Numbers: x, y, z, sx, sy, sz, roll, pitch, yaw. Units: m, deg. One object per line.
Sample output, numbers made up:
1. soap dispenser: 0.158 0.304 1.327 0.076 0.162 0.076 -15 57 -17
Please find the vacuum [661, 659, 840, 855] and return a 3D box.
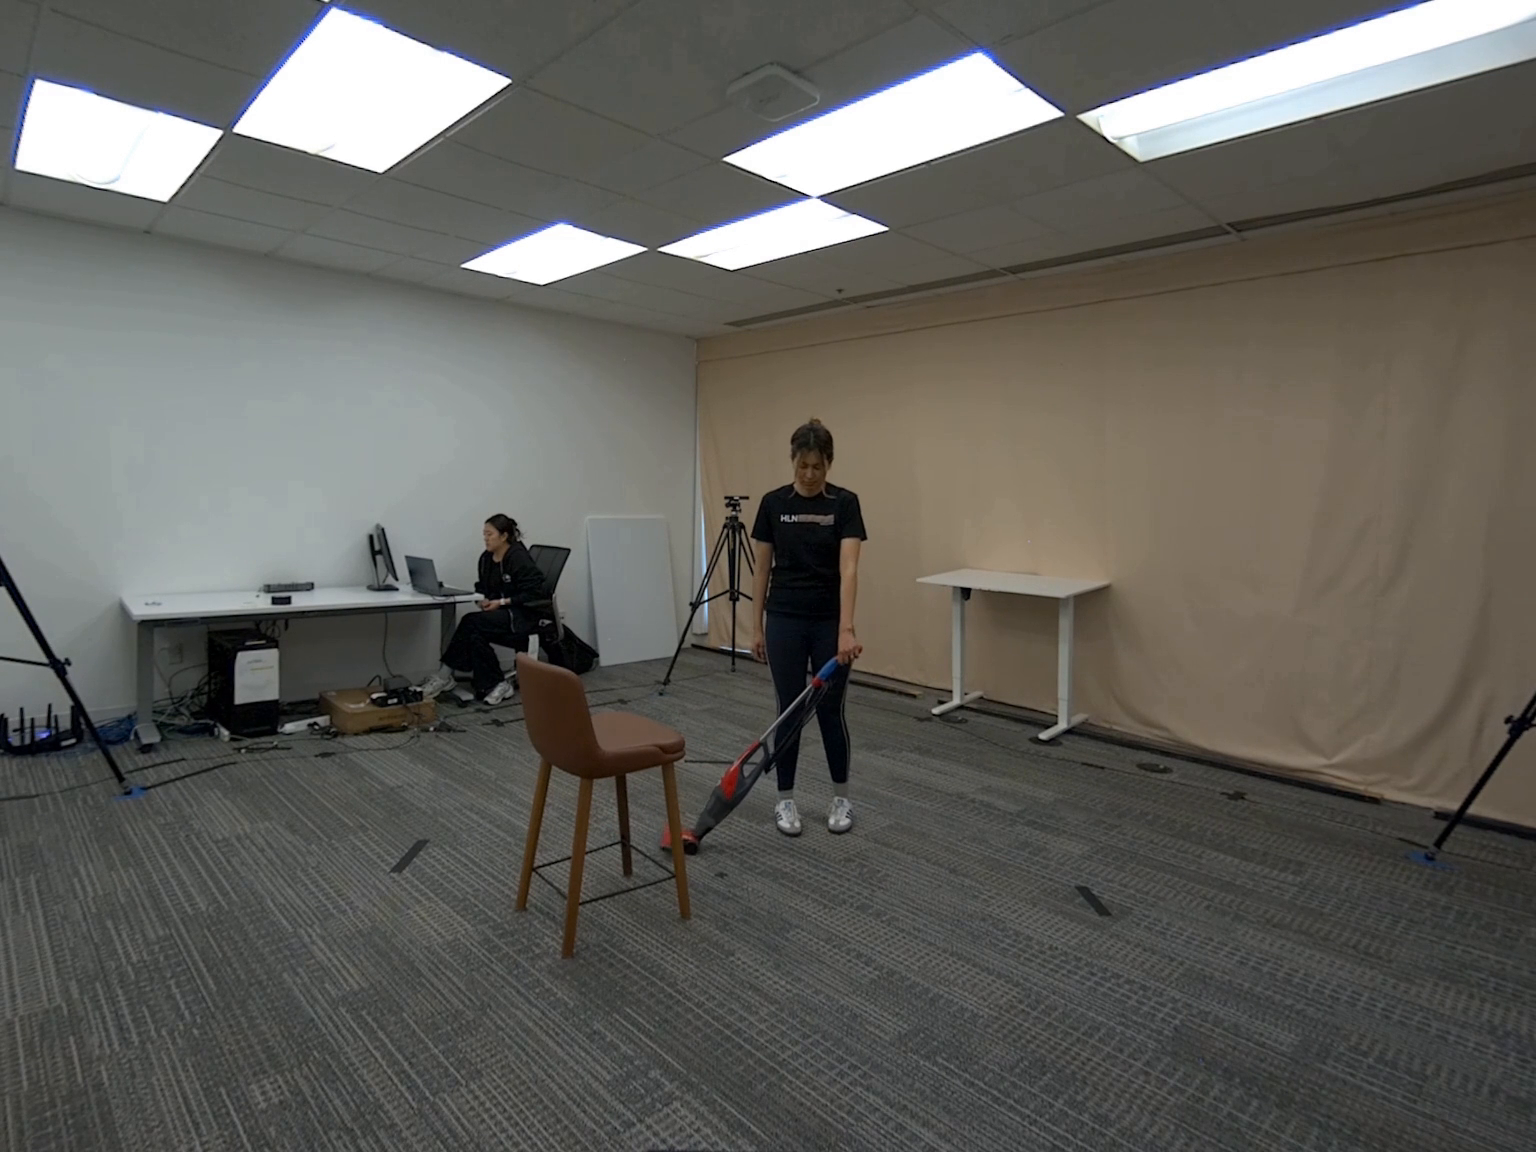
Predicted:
1. vacuum: 0.006 0.679 3.305 0.143 1.049 0.253 44 4 -5
